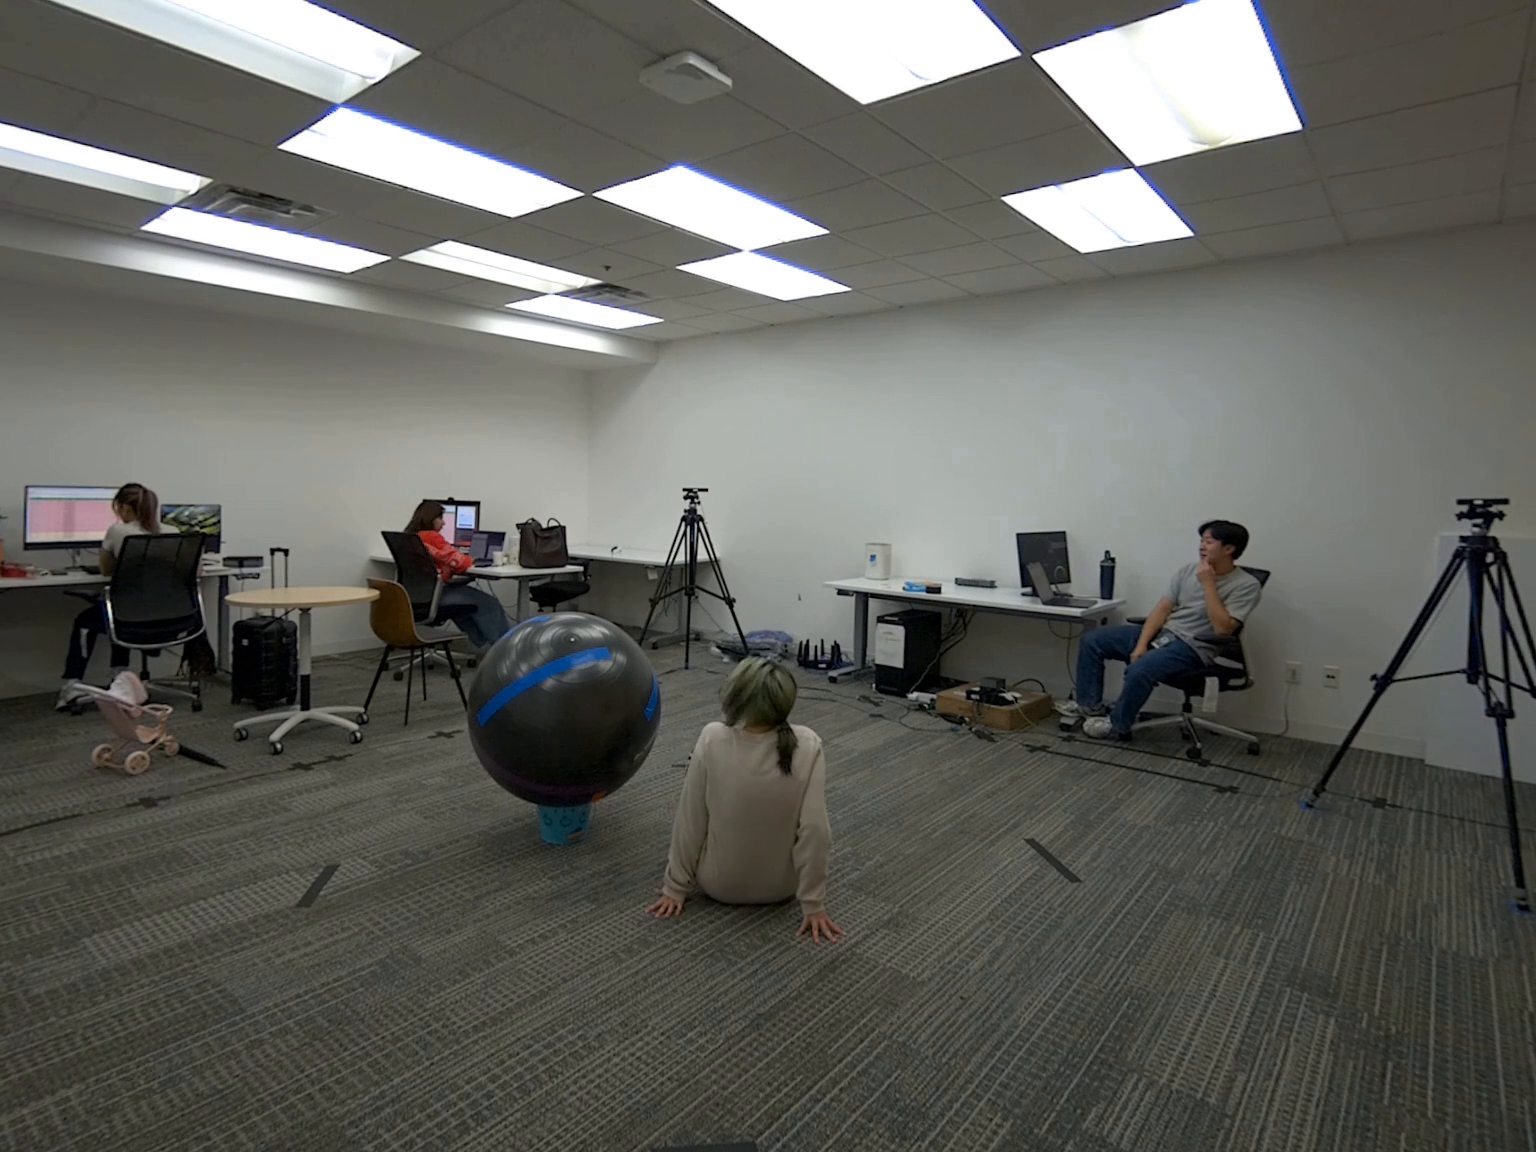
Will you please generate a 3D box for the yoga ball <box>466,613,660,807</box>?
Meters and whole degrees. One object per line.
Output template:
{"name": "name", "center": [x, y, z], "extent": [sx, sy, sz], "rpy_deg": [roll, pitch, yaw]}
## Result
{"name": "yoga ball", "center": [-0.815, 0.522, 3.381], "extent": [0.757, 0.756, 0.761], "rpy_deg": [1, 4, -2]}
